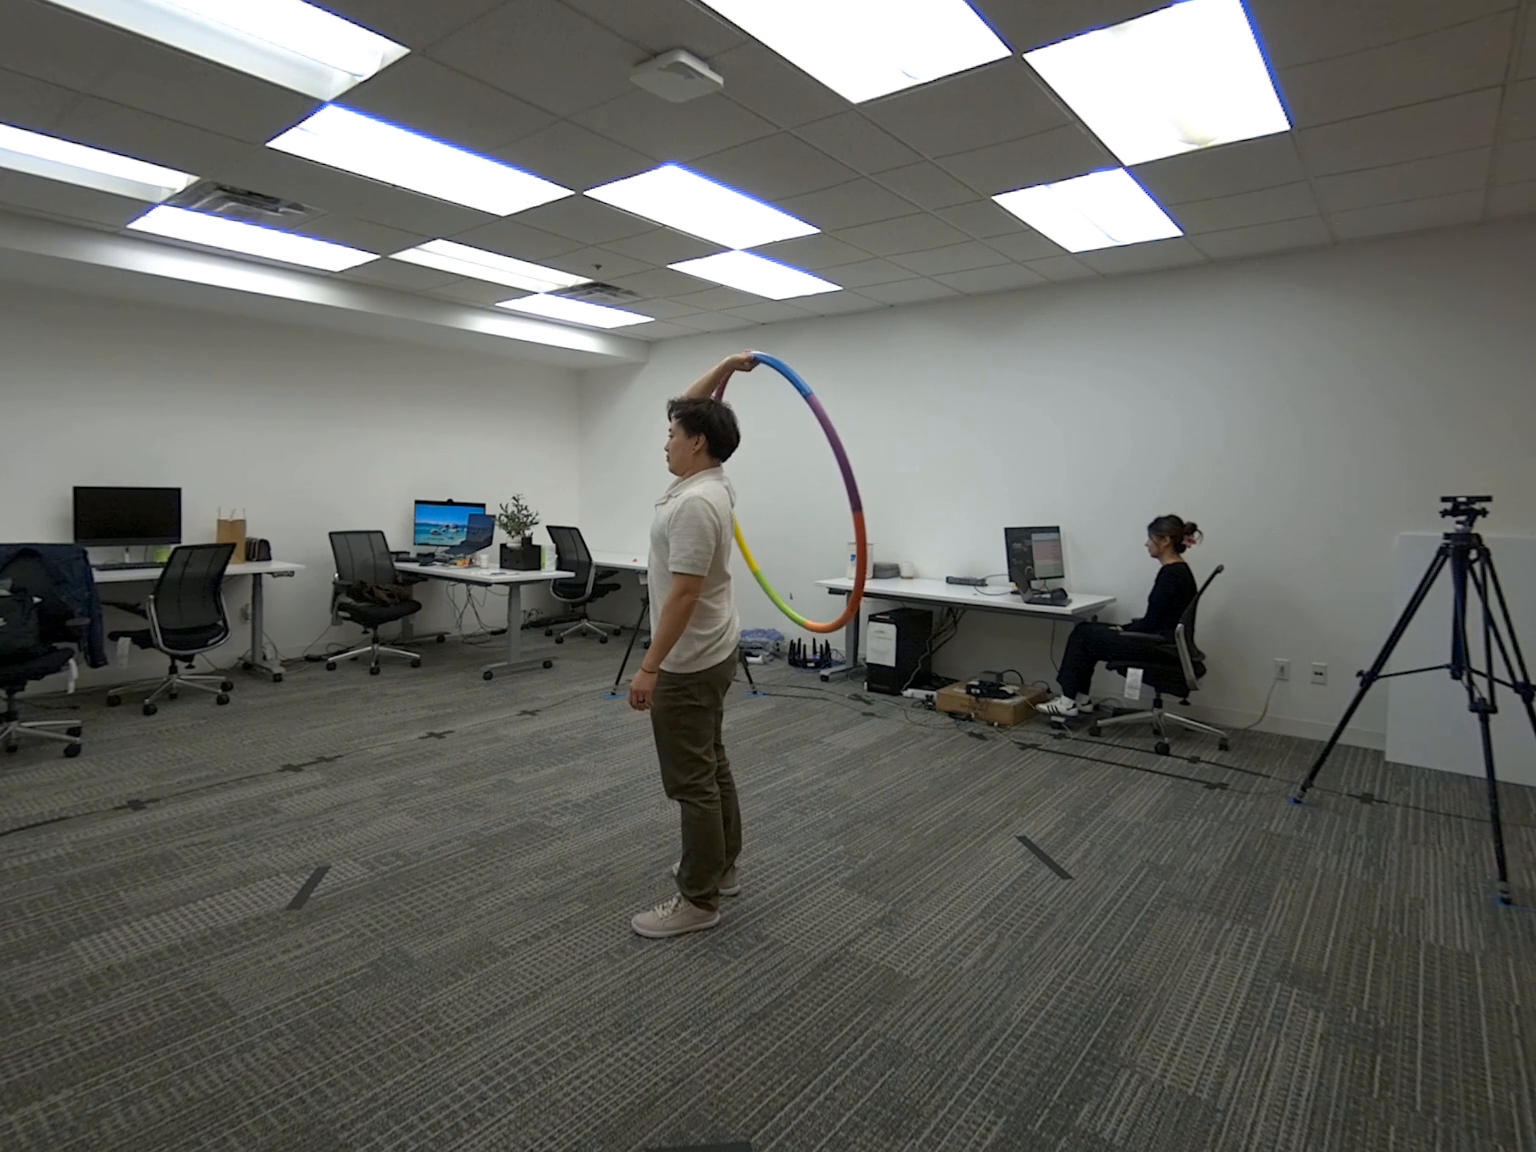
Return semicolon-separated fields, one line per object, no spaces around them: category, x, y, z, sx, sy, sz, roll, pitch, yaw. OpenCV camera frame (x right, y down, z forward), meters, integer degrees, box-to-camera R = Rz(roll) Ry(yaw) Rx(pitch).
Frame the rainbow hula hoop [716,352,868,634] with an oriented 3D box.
rainbow hula hoop;0.015;-0.279;2.923;0.035;0.967;1.006;-18;12;-24
